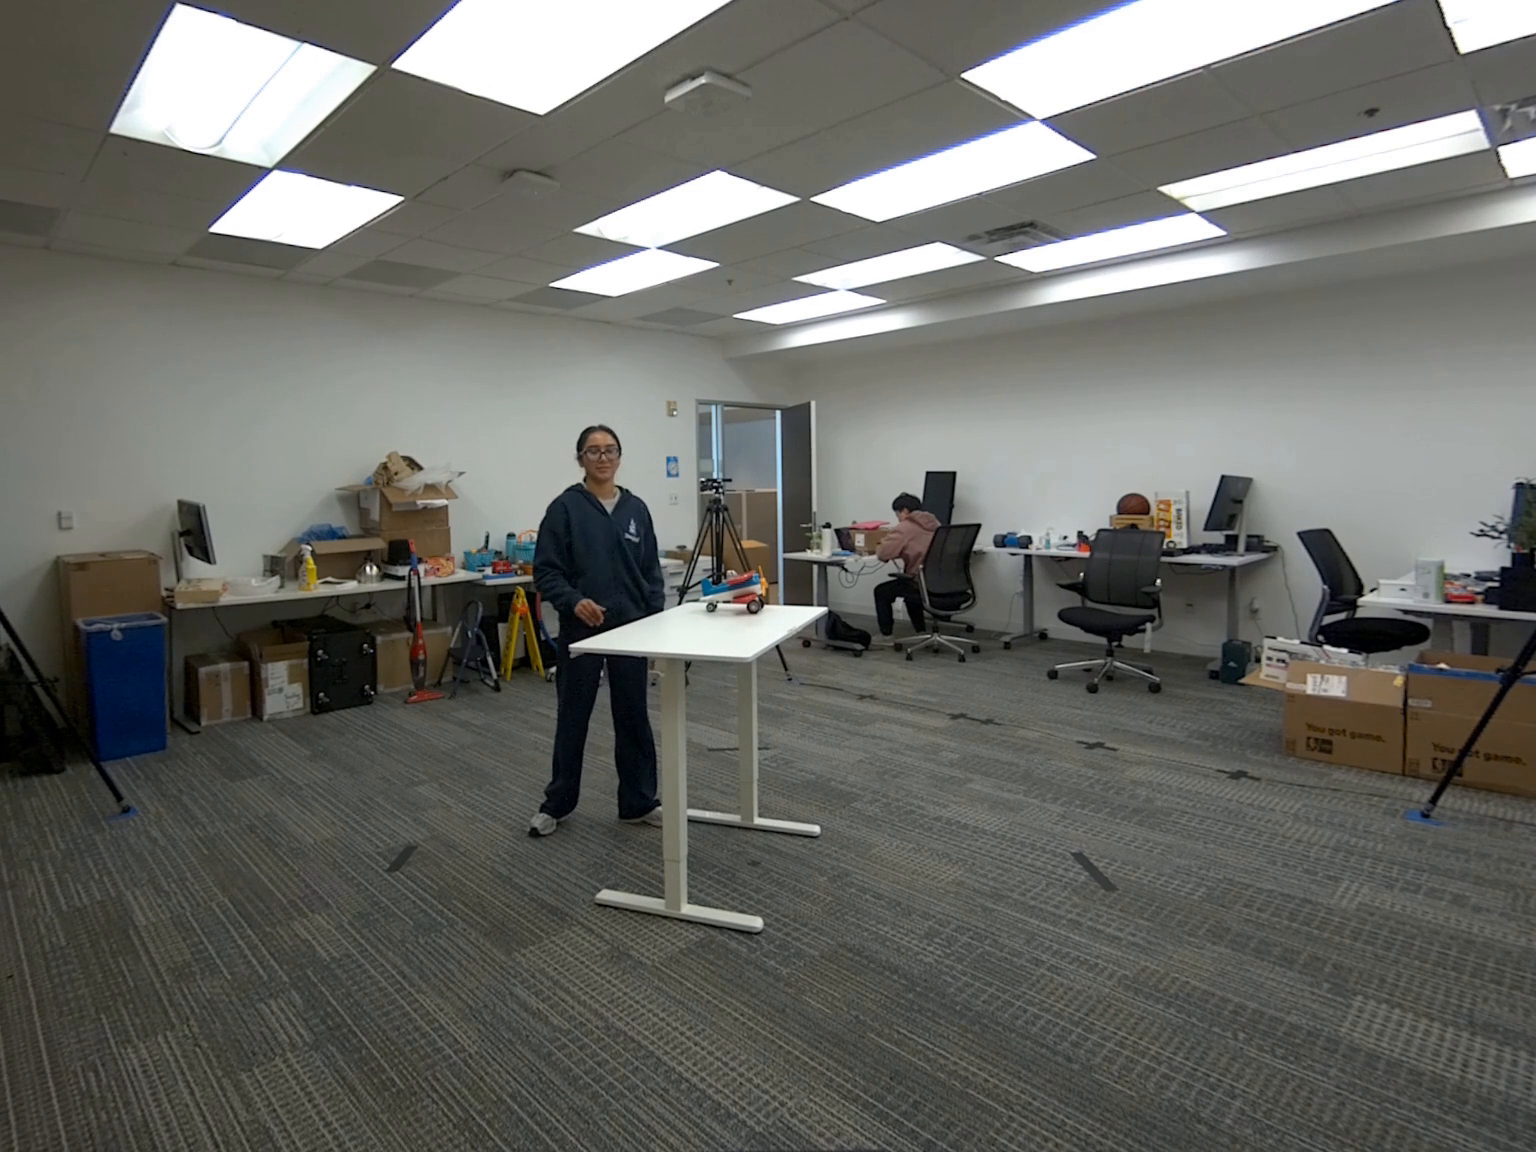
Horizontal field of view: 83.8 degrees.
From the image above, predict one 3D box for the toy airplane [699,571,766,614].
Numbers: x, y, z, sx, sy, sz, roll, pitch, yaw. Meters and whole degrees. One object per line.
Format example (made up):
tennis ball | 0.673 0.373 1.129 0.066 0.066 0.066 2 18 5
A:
toy airplane | -0.135 0.068 3.301 0.255 0.156 0.256 -2 6 -16
